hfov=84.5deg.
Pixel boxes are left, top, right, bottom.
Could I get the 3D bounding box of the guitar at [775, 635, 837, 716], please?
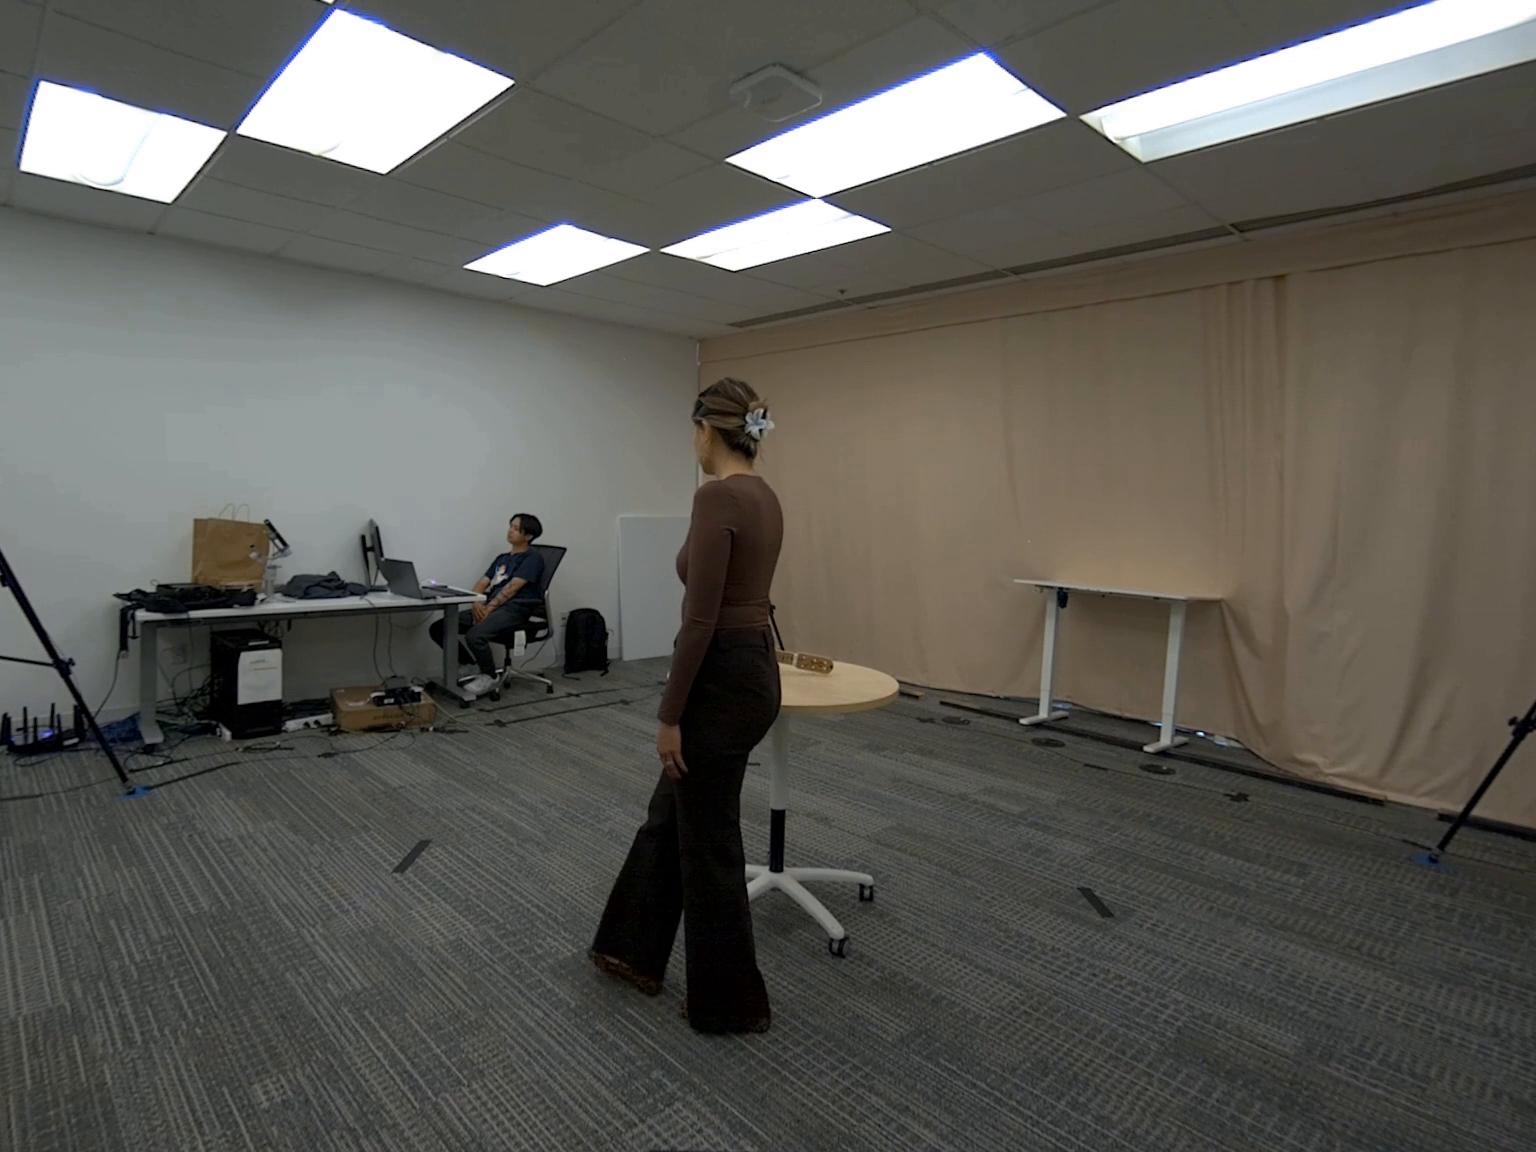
[{"bbox_3d":[-0.035,0.290,2.902,0.500,0.192,0.070,20,6,5],"label":"guitar"}]
